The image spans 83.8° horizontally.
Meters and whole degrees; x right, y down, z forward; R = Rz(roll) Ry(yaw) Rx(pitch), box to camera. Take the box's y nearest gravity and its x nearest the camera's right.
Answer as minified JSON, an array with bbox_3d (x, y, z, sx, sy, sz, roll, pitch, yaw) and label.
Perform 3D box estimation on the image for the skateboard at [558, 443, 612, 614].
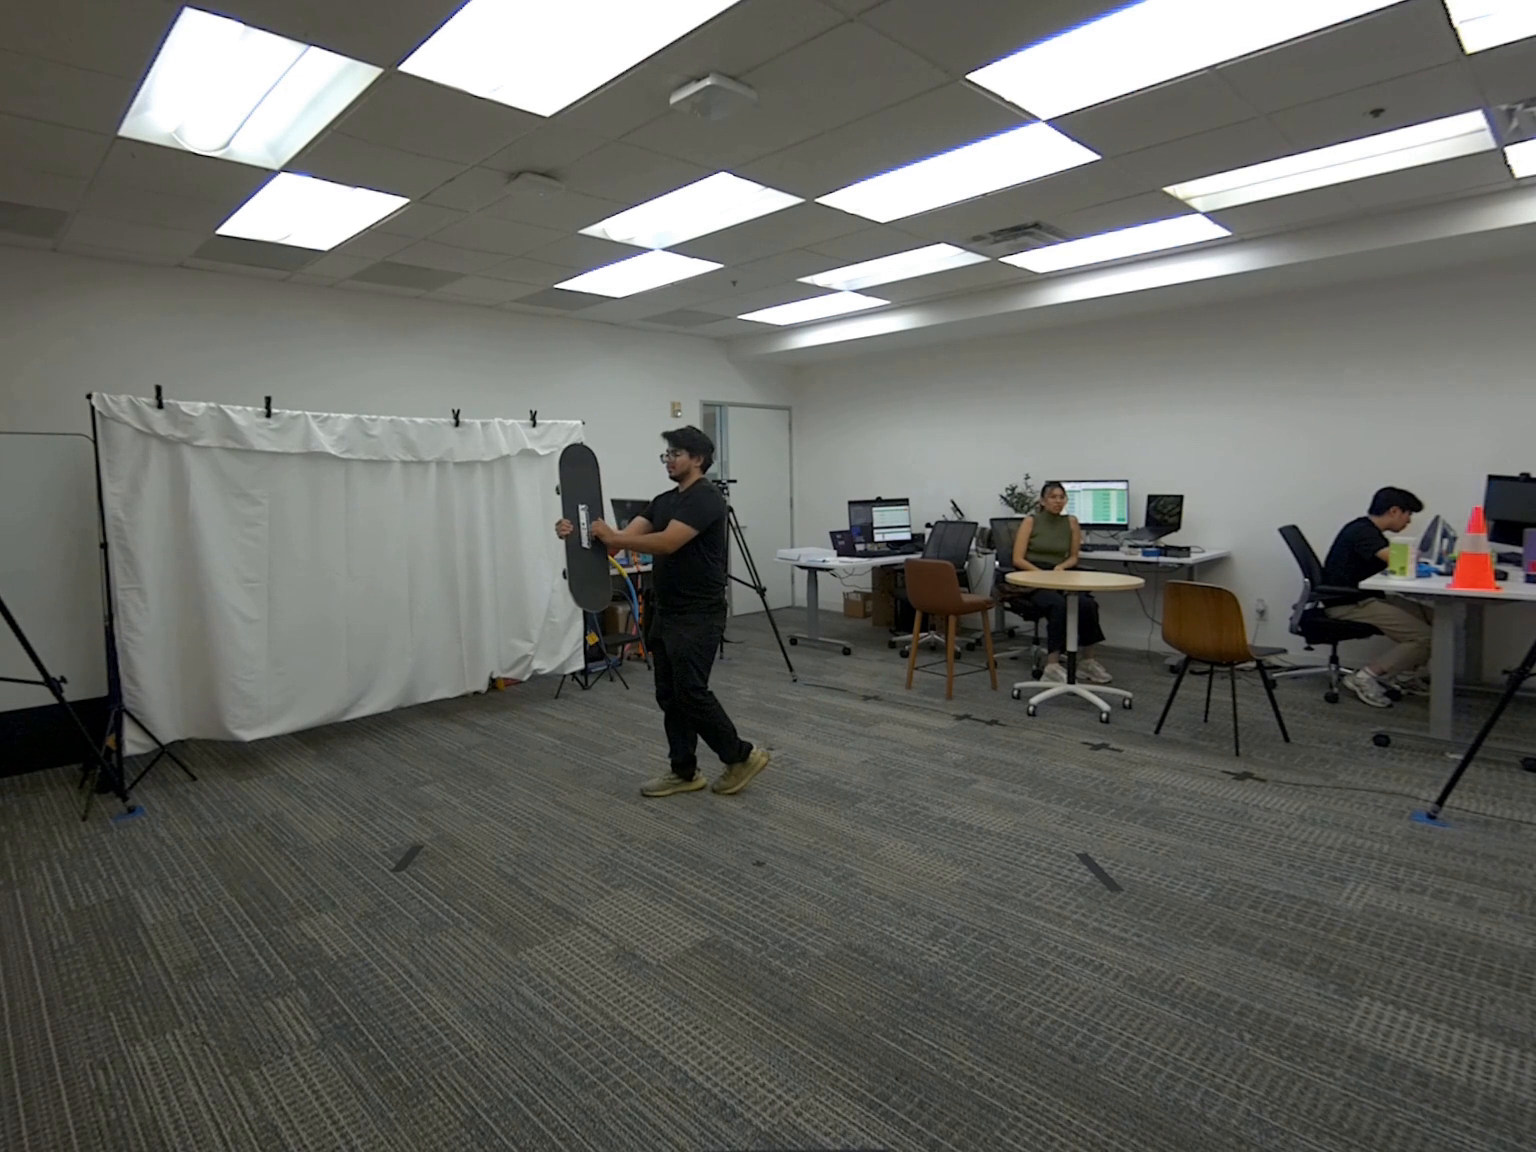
[{"bbox_3d":[-0.797,-0.198,3.715,0.189,0.801,0.111,3,-22,-26],"label":"skateboard"}]
